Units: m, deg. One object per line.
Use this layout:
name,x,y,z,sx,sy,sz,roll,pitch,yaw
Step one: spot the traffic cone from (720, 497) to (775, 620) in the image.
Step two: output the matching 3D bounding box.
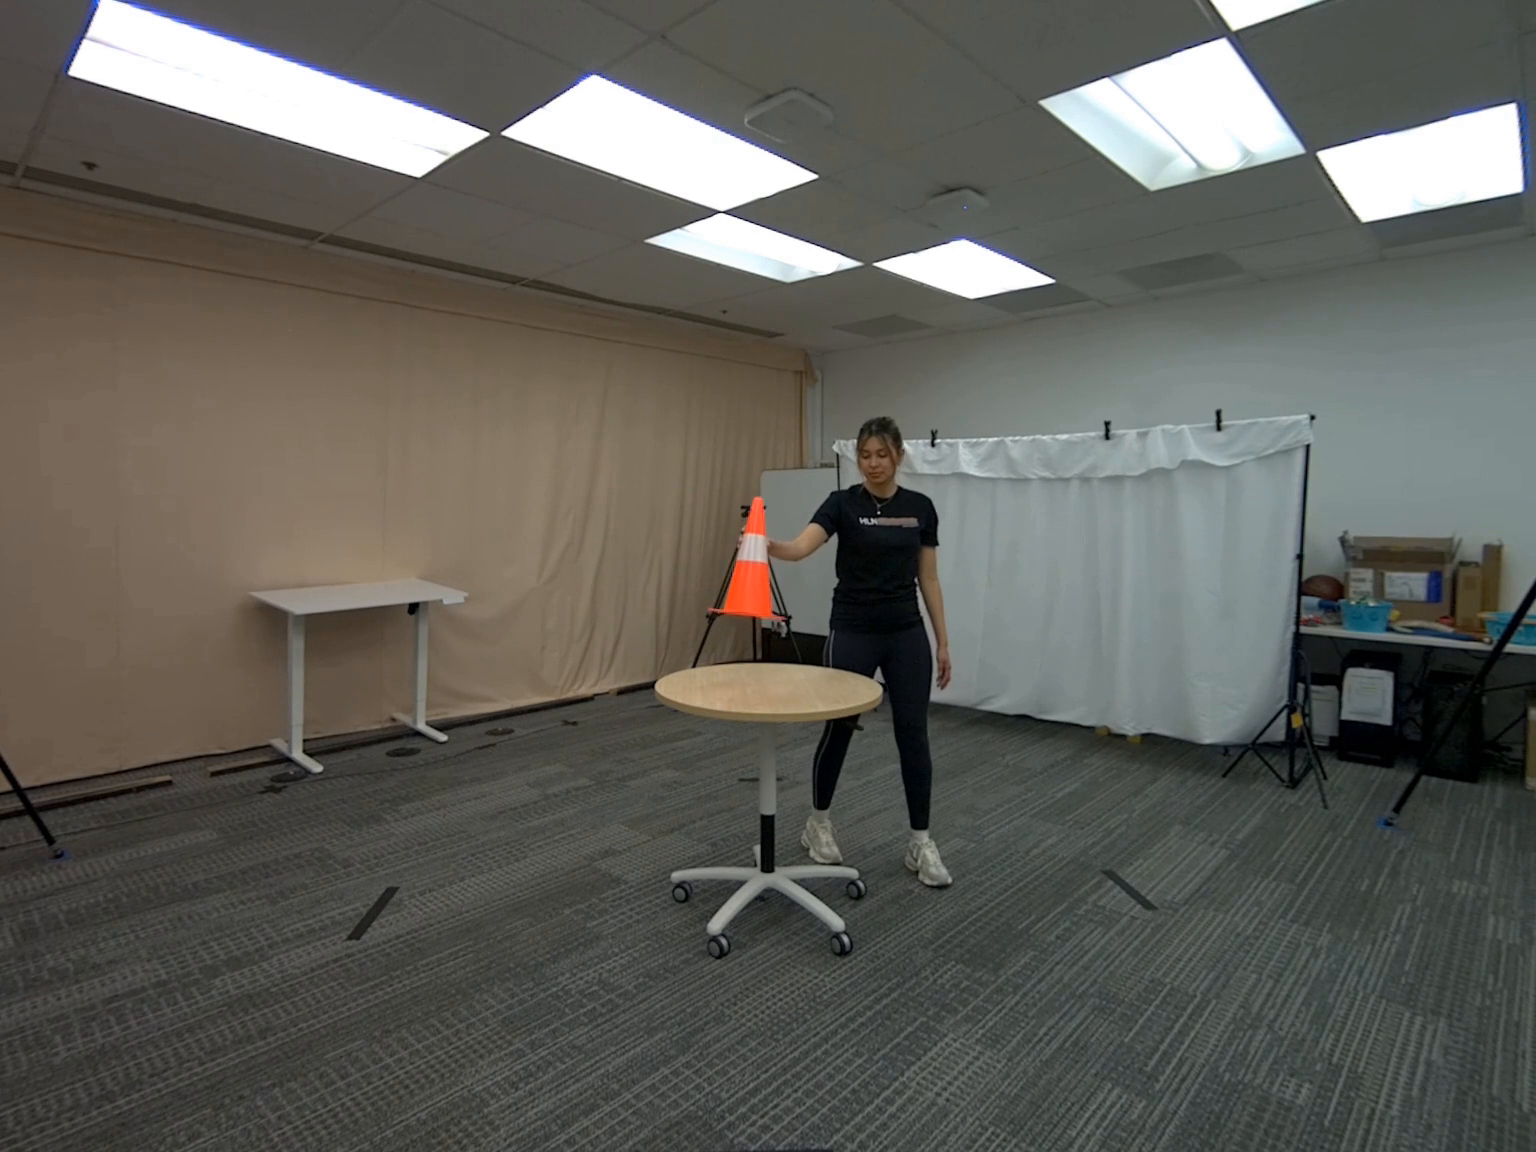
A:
traffic cone,-0.040,-0.061,2.728,0.208,0.385,0.200,2,-7,20
